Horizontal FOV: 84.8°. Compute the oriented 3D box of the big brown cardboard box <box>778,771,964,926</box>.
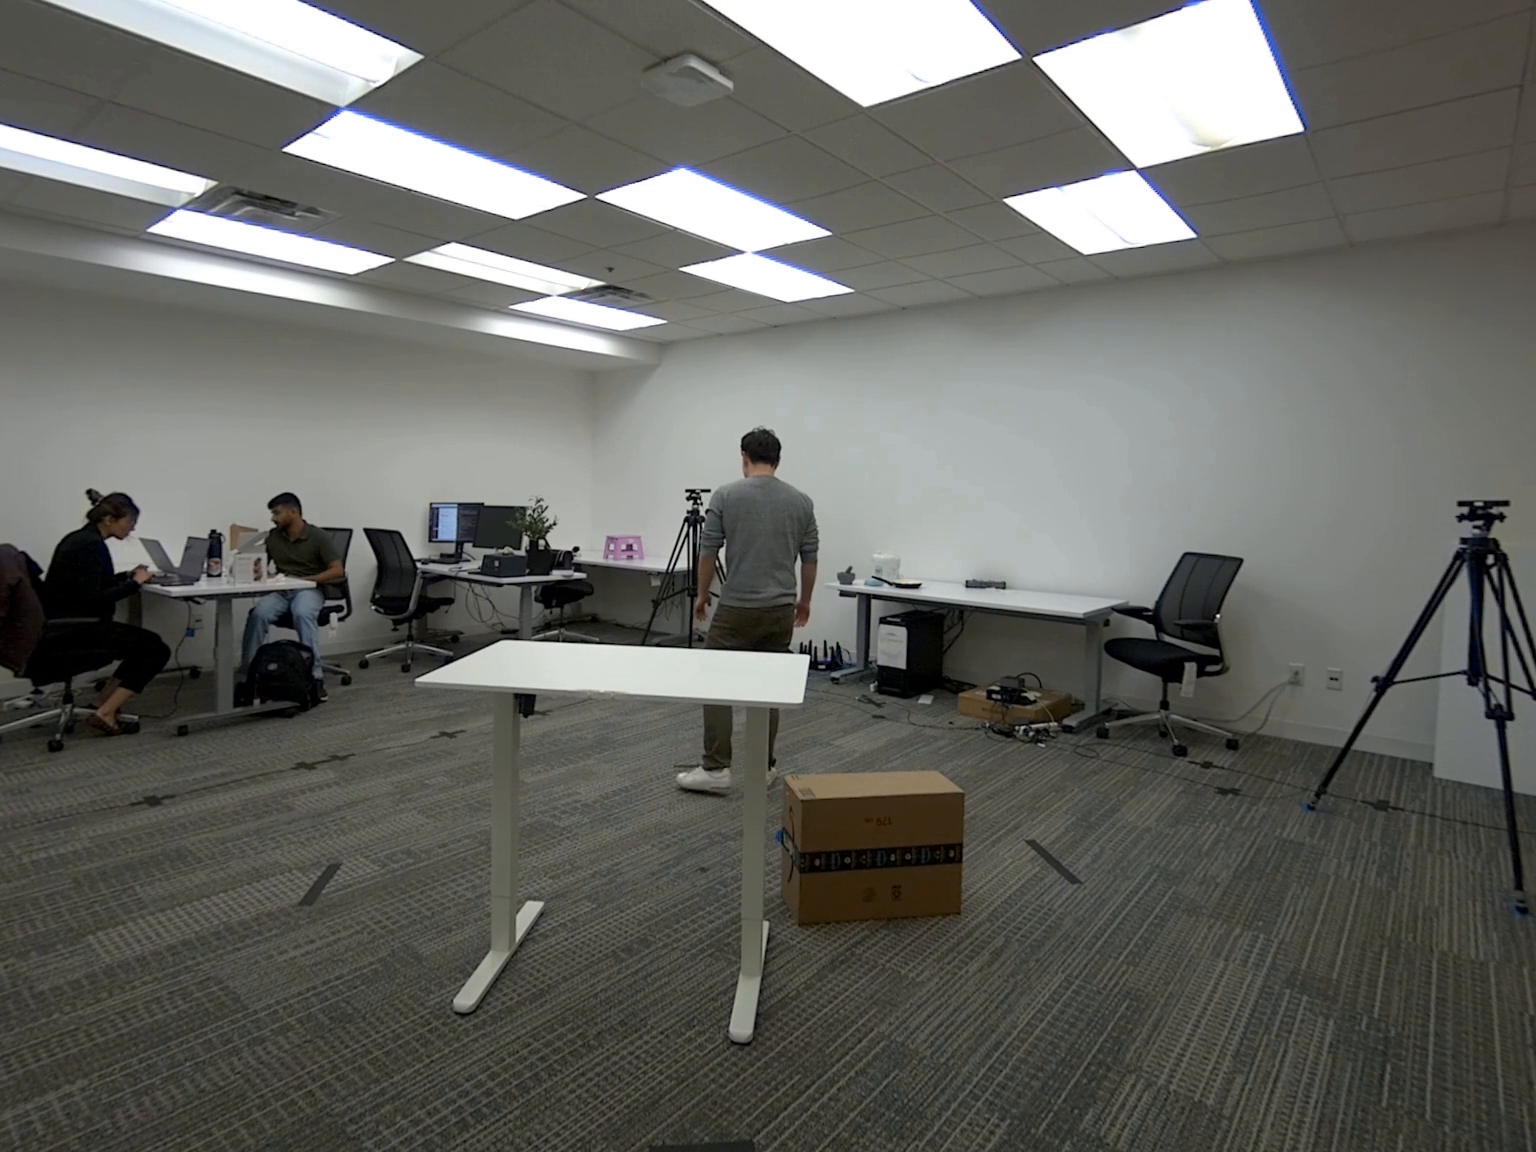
[{"bbox_3d":[0.338,0.901,2.871,0.582,0.416,0.237,1,5,-10],"label":"big brown cardboard box"}]
